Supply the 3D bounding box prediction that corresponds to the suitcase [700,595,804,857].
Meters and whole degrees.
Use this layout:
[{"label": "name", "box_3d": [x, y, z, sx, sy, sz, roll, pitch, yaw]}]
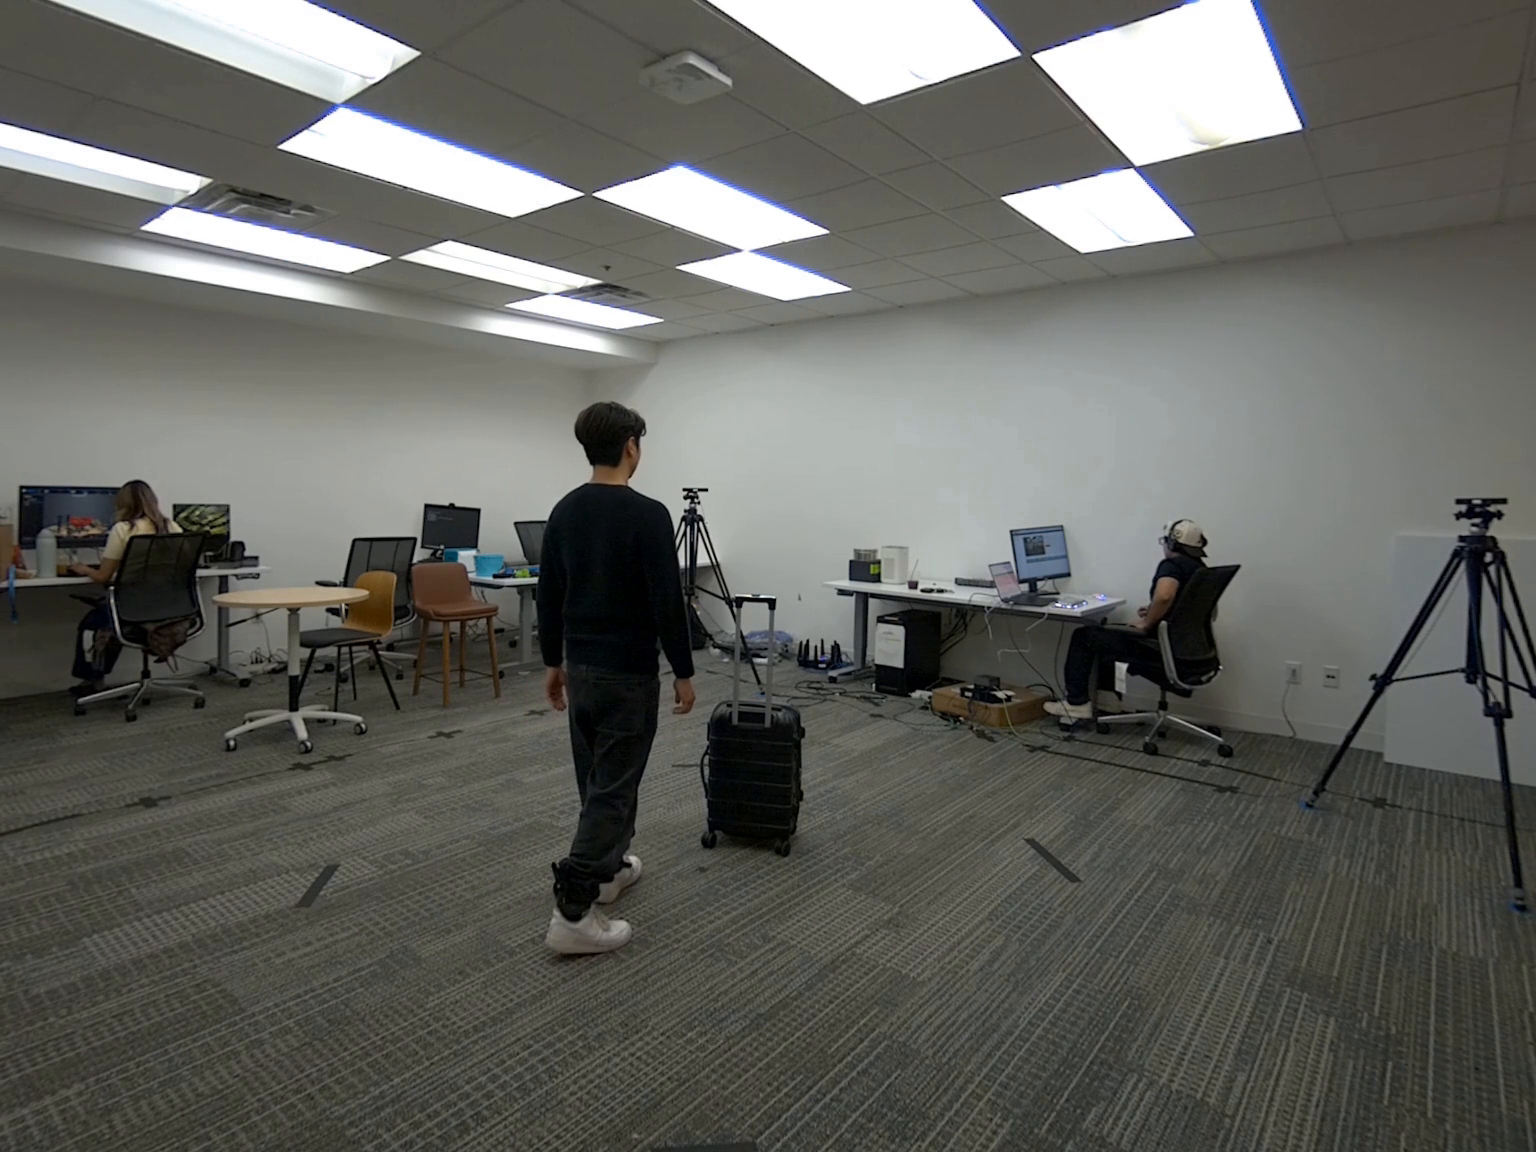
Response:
[{"label": "suitcase", "box_3d": [-0.060, 0.568, 3.392, 0.389, 0.979, 0.254, 3, -1, 10]}]
